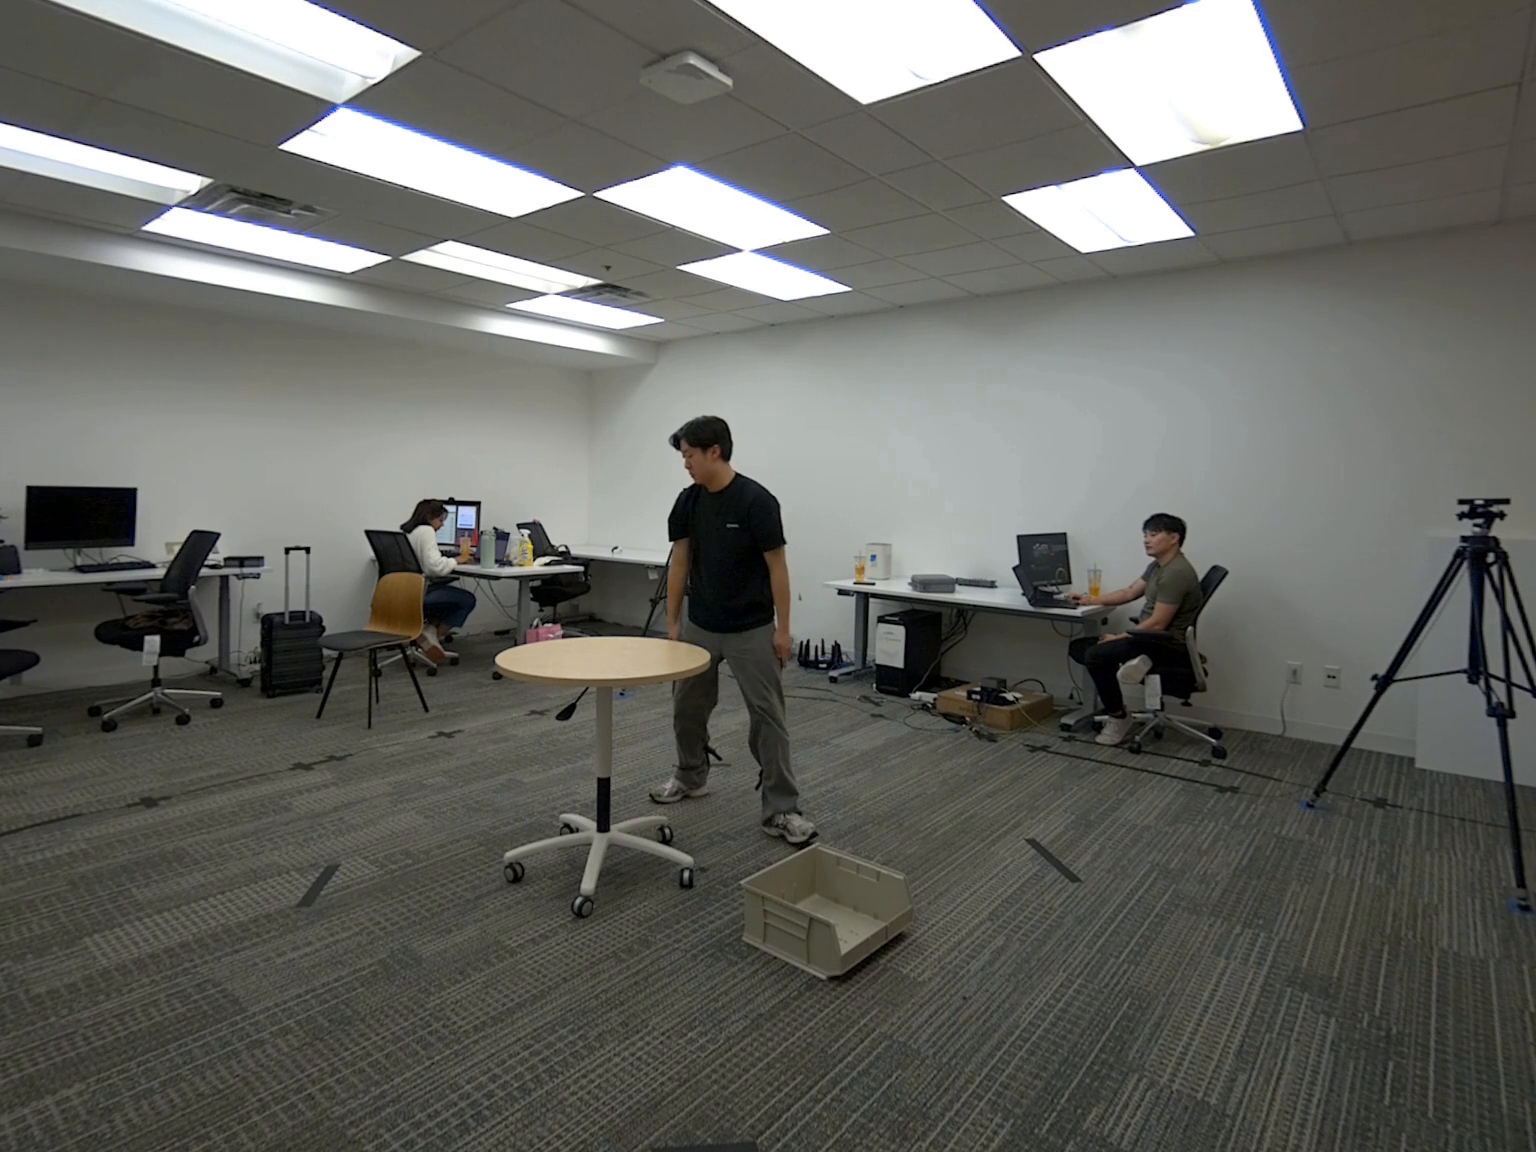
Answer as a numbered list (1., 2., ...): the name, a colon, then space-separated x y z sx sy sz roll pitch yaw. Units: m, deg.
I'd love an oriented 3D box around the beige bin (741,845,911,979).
1. beige bin: 0.178 1.033 2.653 0.390 0.188 0.410 4 5 40
